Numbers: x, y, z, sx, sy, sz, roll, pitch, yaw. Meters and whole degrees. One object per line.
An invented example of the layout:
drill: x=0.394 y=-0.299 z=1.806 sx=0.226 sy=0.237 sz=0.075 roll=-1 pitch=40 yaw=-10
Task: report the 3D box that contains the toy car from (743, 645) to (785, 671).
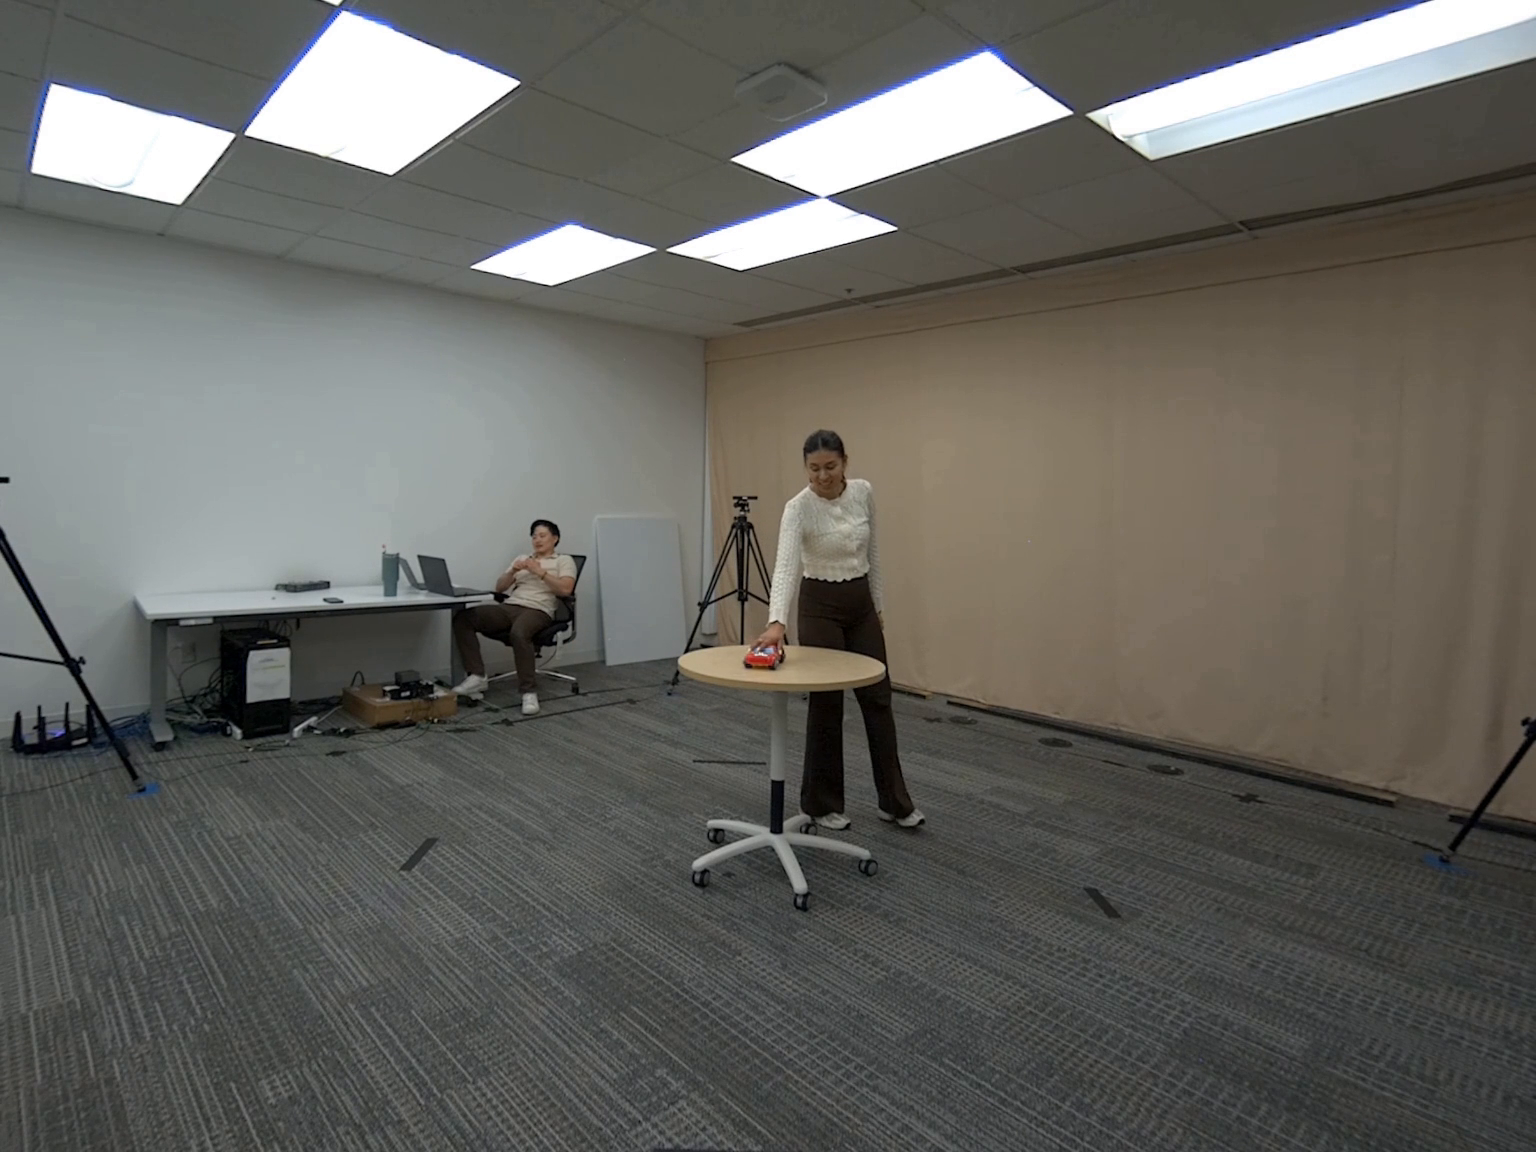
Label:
toy car: x=-0.014 y=0.290 z=3.081 sx=0.131 sy=0.082 sz=0.255 roll=1 pitch=15 yaw=10
